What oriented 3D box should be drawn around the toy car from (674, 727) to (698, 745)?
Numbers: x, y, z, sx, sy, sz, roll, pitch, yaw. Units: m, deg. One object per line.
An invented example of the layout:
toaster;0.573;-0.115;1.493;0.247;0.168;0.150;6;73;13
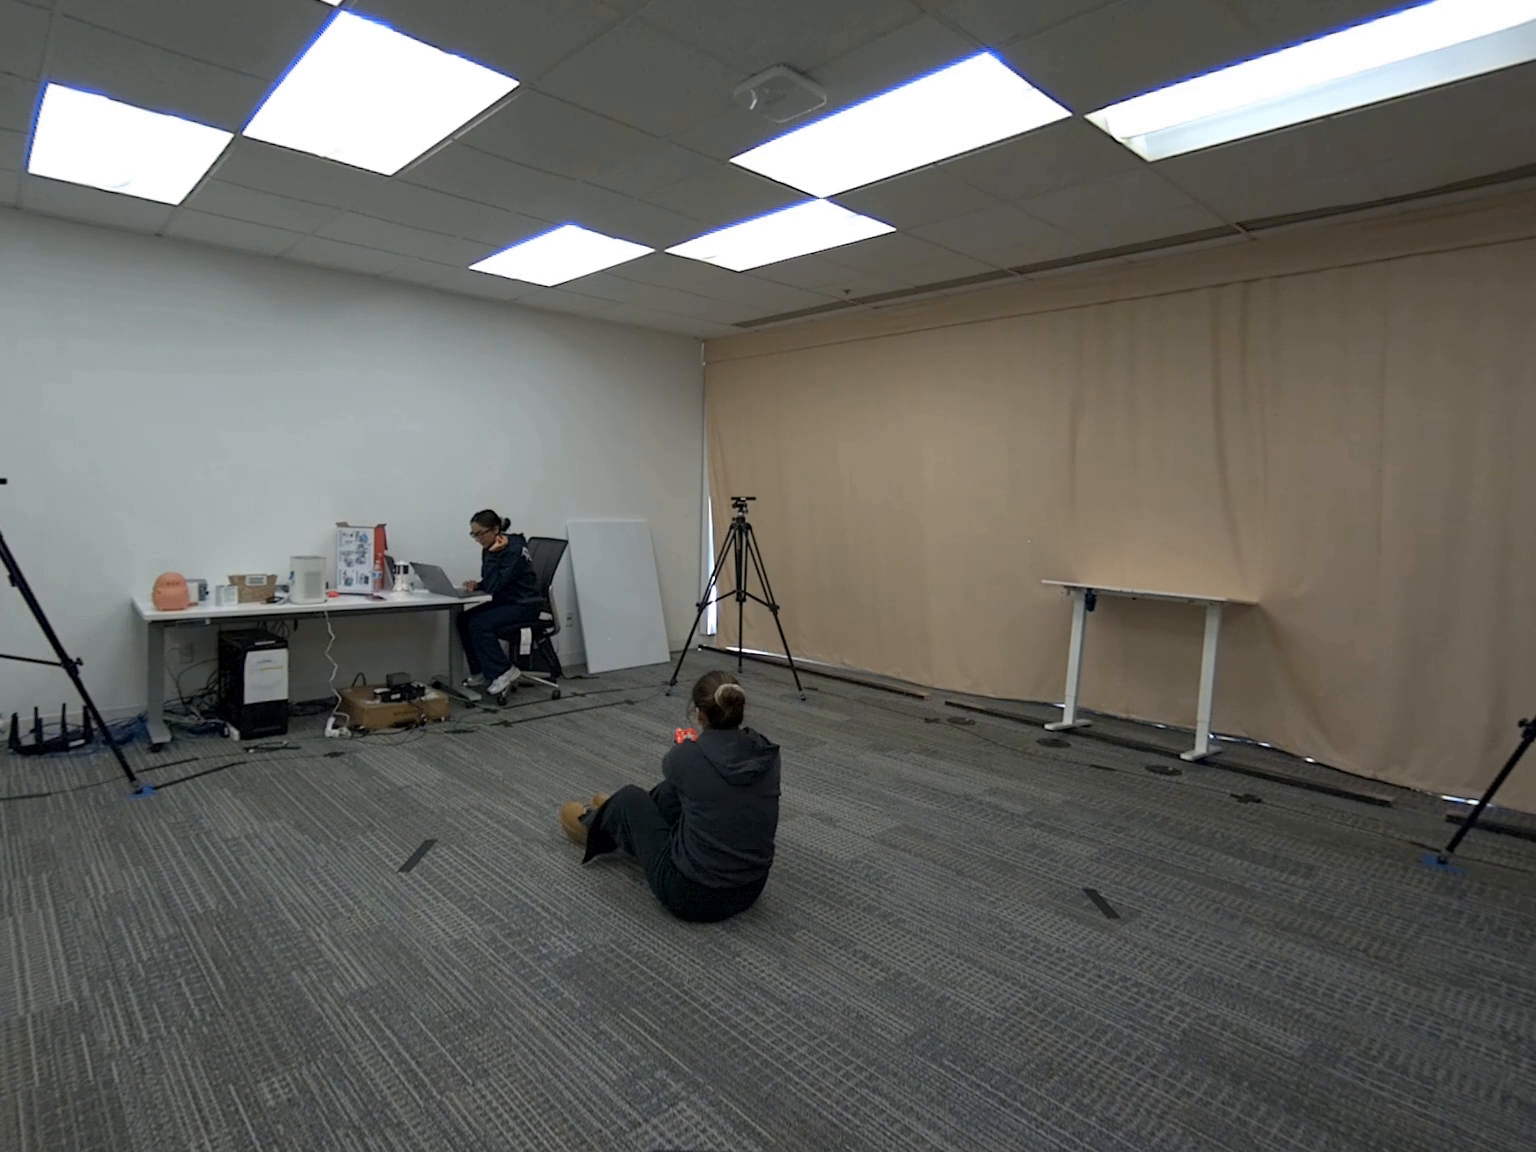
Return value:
toy car;-0.332;0.725;3.507;0.128;0.082;0.262;2;37;-22
